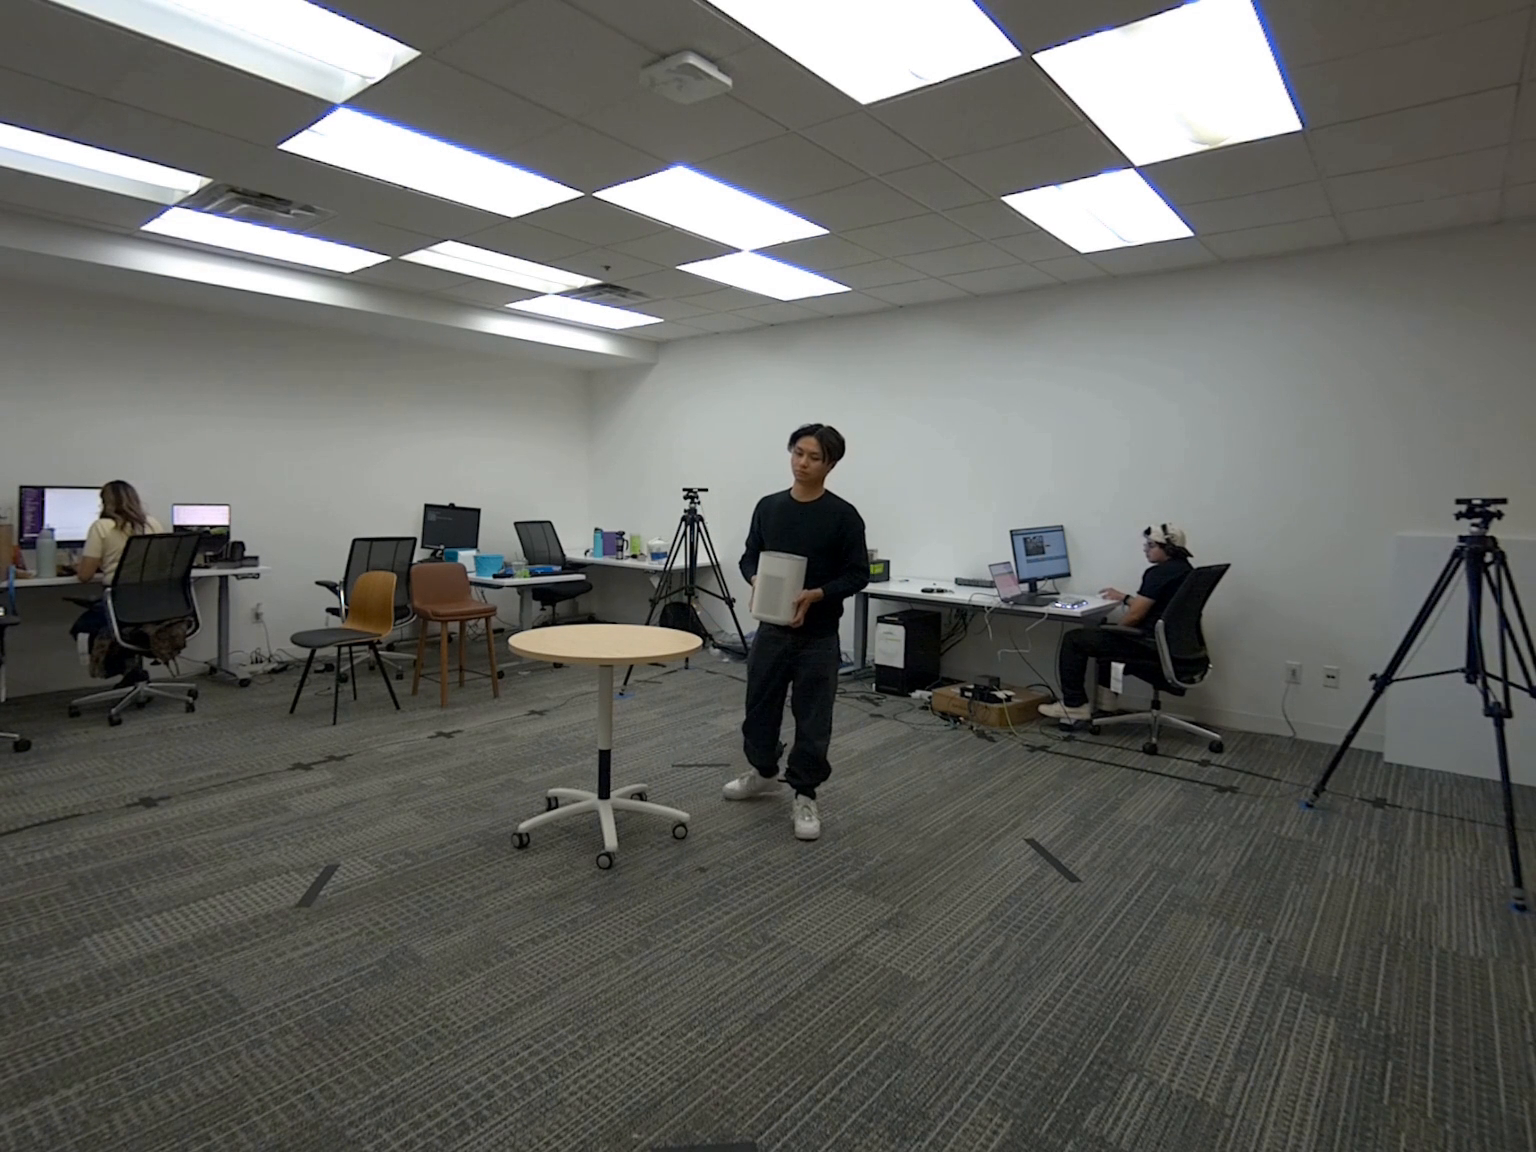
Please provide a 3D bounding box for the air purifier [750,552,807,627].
[{"bbox_3d":[0.047,0.040,3.359,0.176,0.264,0.167,9,4,23],"label":"air purifier"}]
